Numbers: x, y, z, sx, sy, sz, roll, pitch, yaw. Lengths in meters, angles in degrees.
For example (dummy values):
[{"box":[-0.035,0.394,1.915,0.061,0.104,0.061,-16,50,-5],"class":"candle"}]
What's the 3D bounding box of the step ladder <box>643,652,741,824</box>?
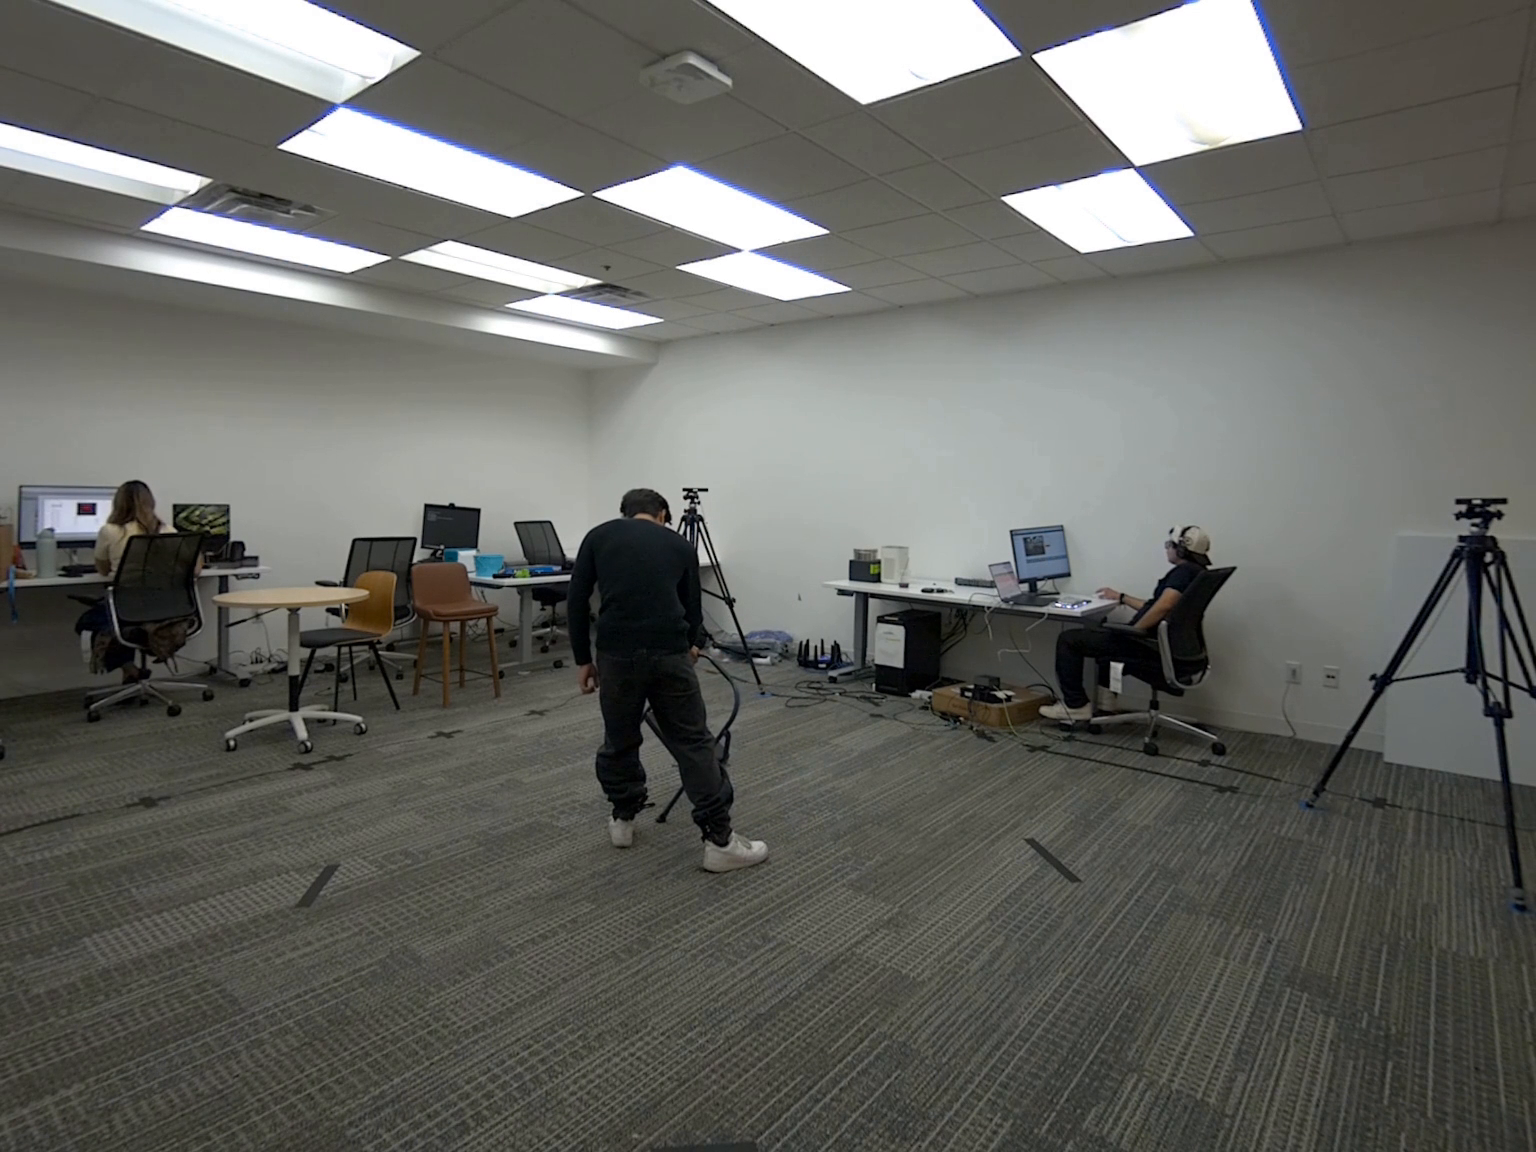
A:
[{"box":[-0.361,0.646,3.671,0.339,0.599,0.449,-2,32,-43],"class":"step ladder"}]
